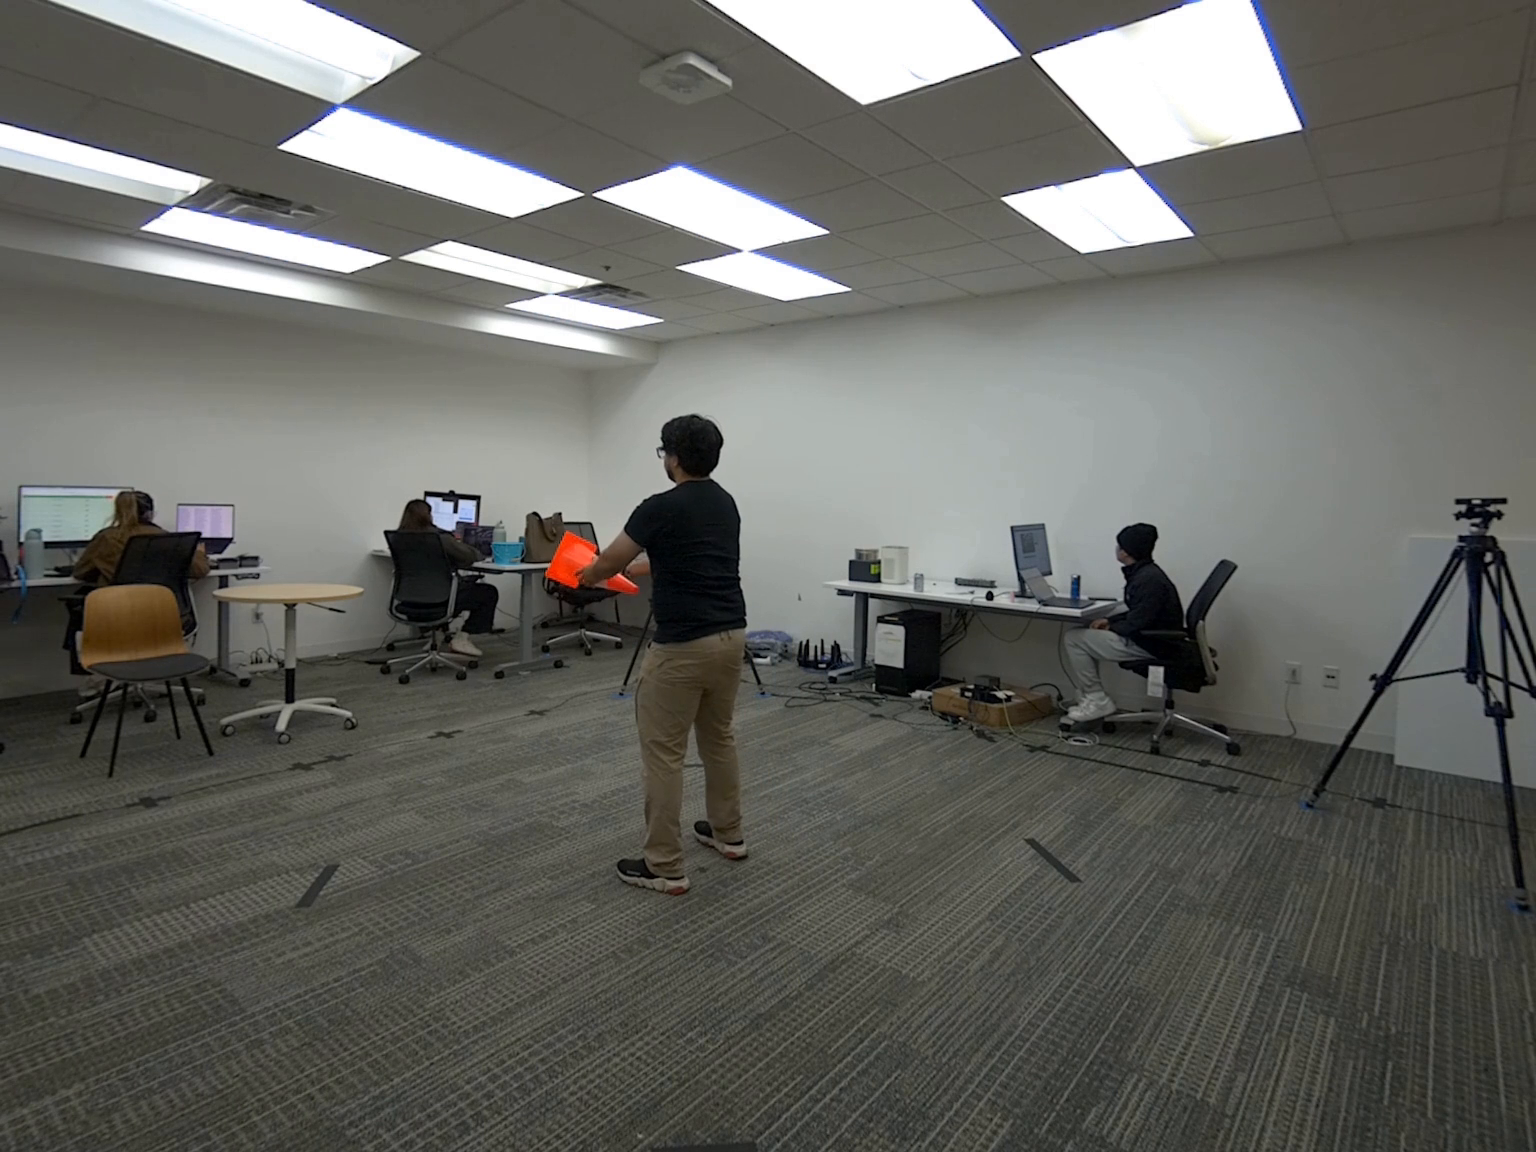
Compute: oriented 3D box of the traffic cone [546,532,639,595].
[{"bbox_3d":[-0.661,-0.008,3.372,0.398,0.204,0.197,20,-8,34],"label":"traffic cone"}]
